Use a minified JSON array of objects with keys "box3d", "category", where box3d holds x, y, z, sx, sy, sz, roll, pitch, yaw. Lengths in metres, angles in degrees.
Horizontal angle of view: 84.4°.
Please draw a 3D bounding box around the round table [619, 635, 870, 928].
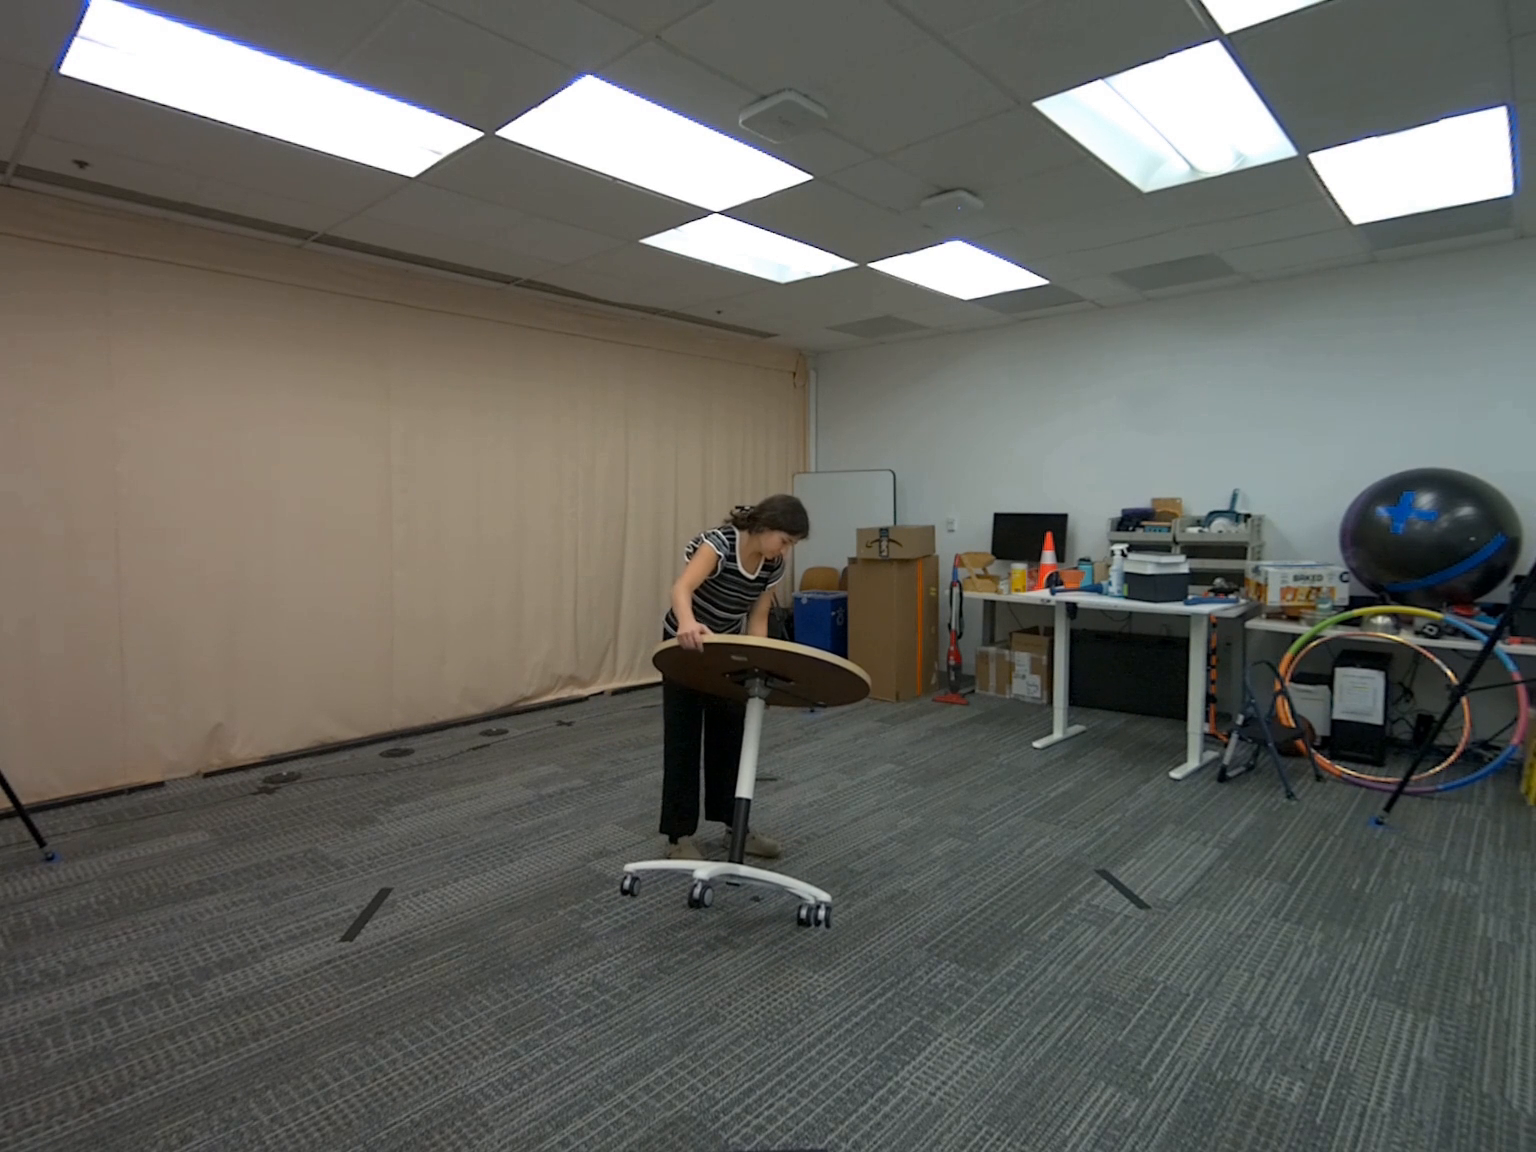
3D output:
[{"box3d":[-0.073,0.698,2.798,0.766,0.801,0.755,8,-22,1],"category":"round table"}]
